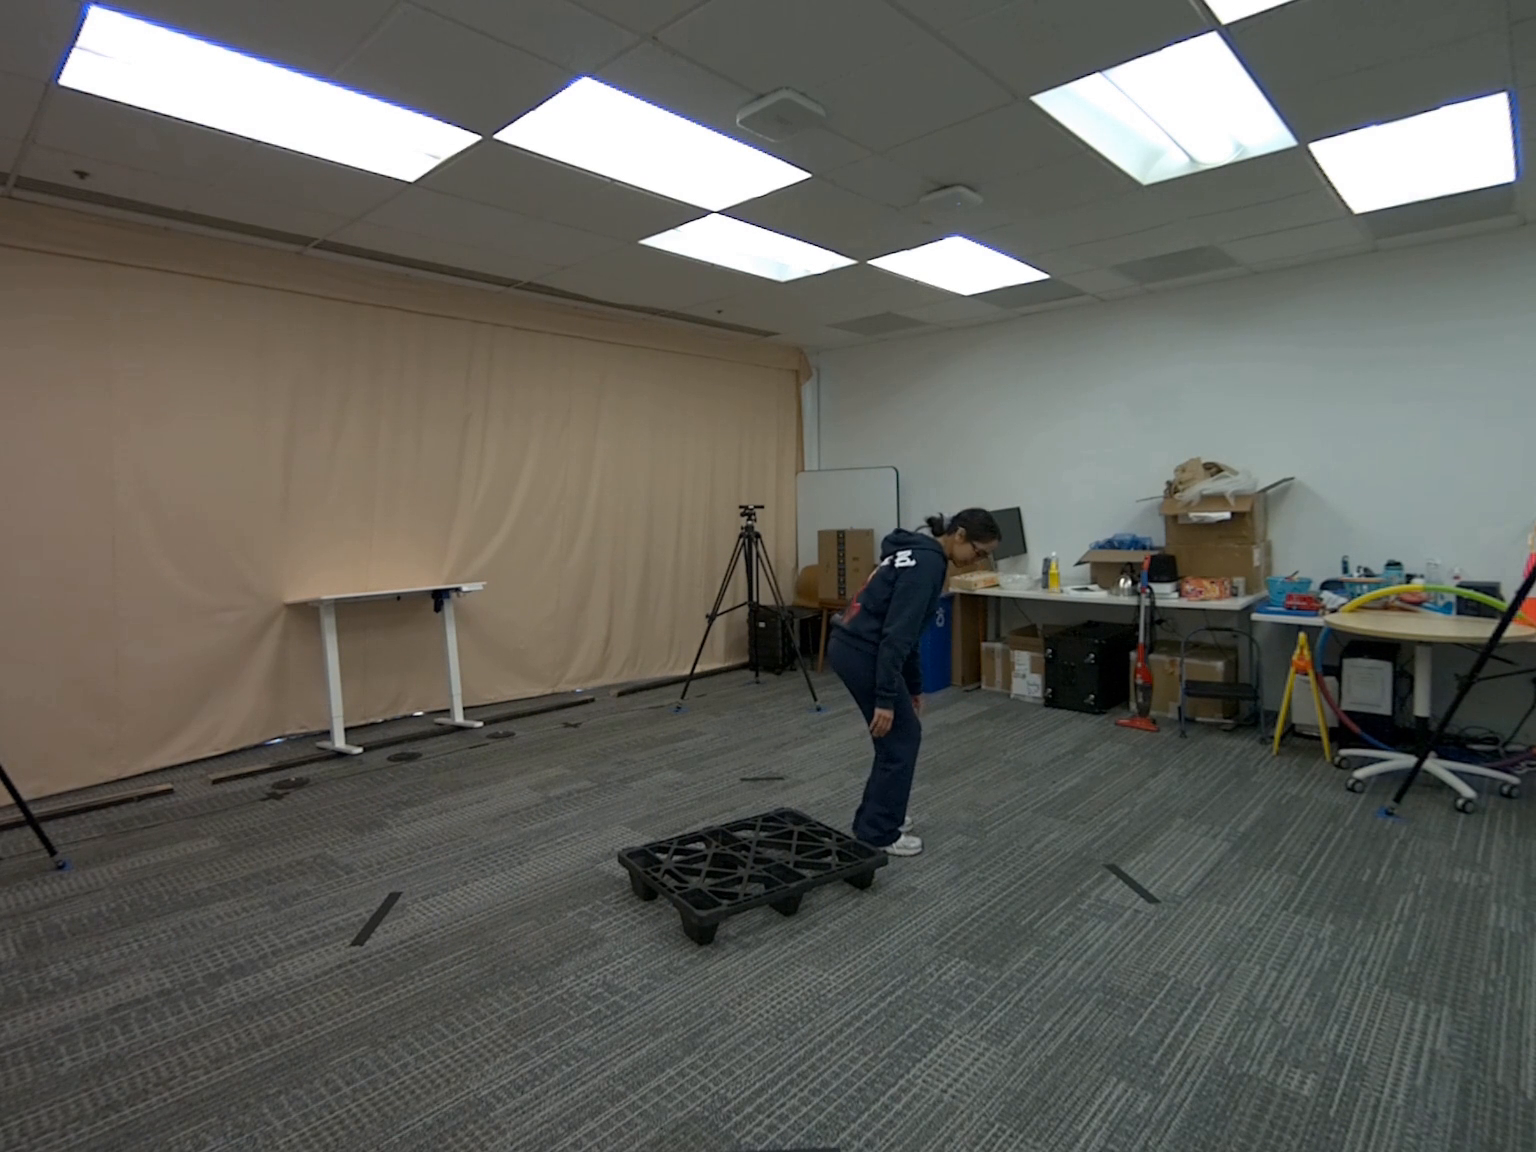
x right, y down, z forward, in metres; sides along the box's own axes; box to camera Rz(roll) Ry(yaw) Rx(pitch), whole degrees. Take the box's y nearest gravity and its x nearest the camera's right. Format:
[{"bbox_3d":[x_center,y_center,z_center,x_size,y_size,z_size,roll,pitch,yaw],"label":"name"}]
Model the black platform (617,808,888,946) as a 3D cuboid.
[{"bbox_3d":[-0.062,1.071,3.047,0.783,0.143,0.624,-4,5,-34],"label":"black platform"}]
